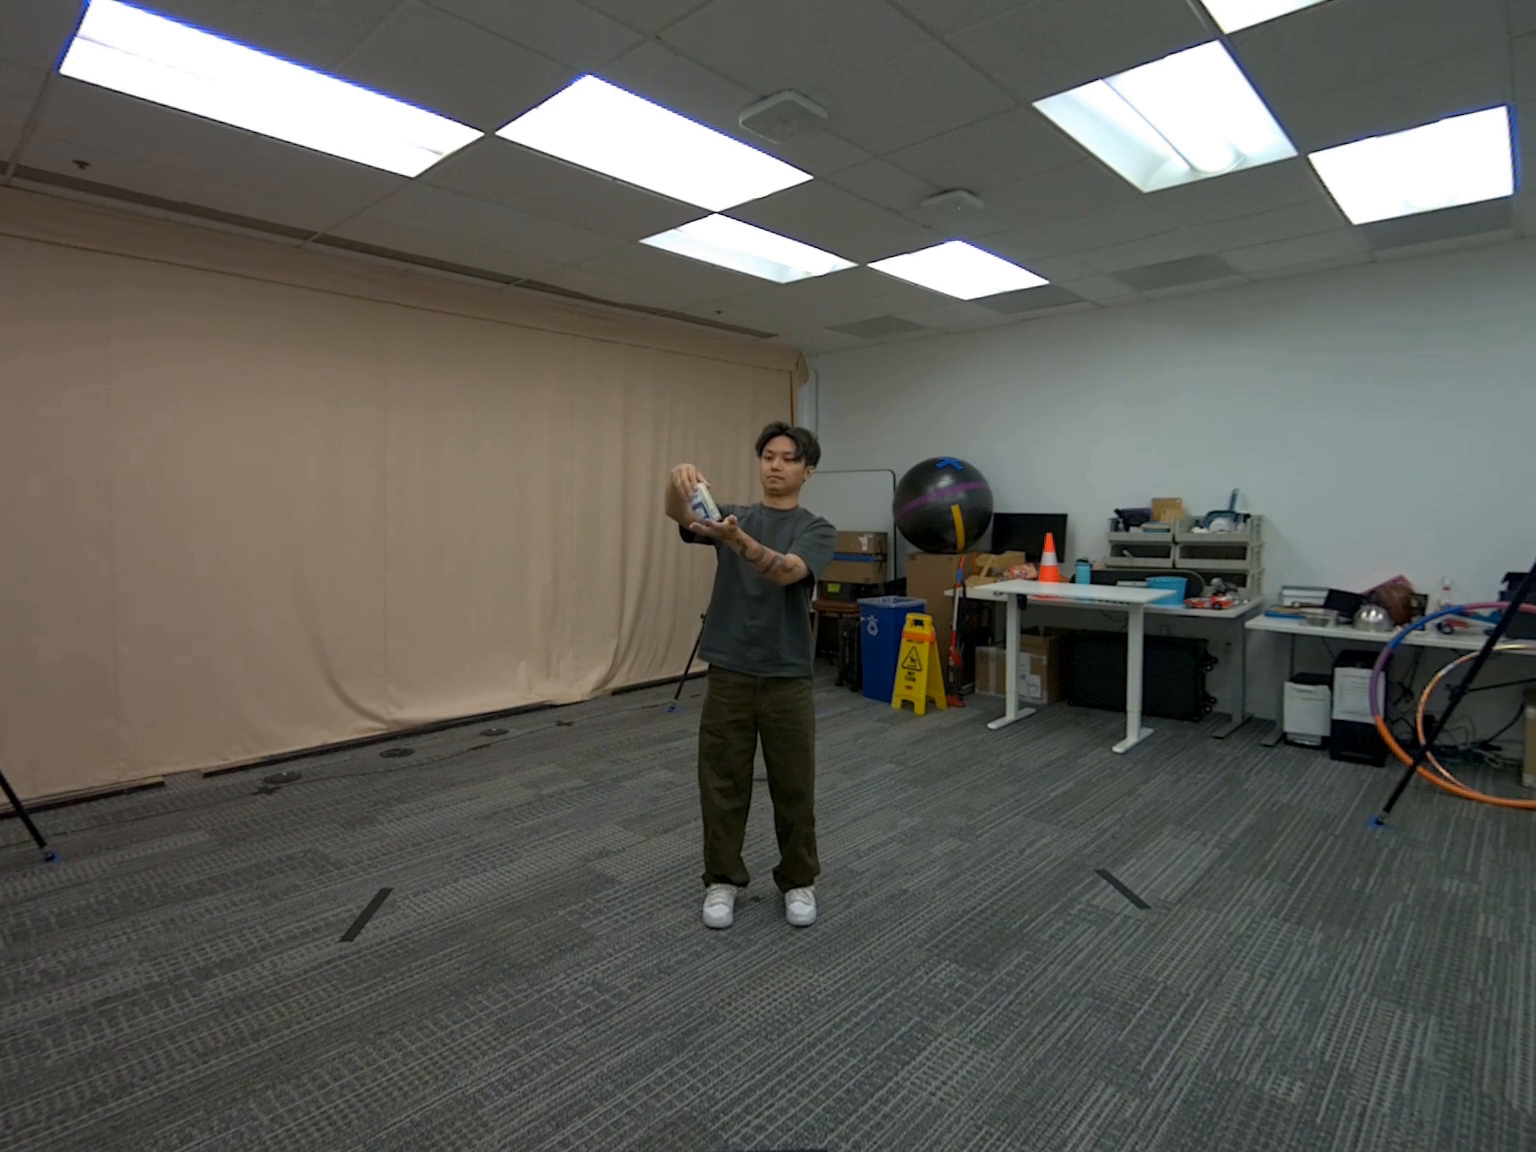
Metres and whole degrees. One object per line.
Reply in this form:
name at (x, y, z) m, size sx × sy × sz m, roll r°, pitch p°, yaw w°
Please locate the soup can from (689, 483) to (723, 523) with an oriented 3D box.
soup can at (-0.185, -0.208, 2.421) m, size 0.067 × 0.122 × 0.067 m, roll -16°, pitch -4°, yaw -3°
